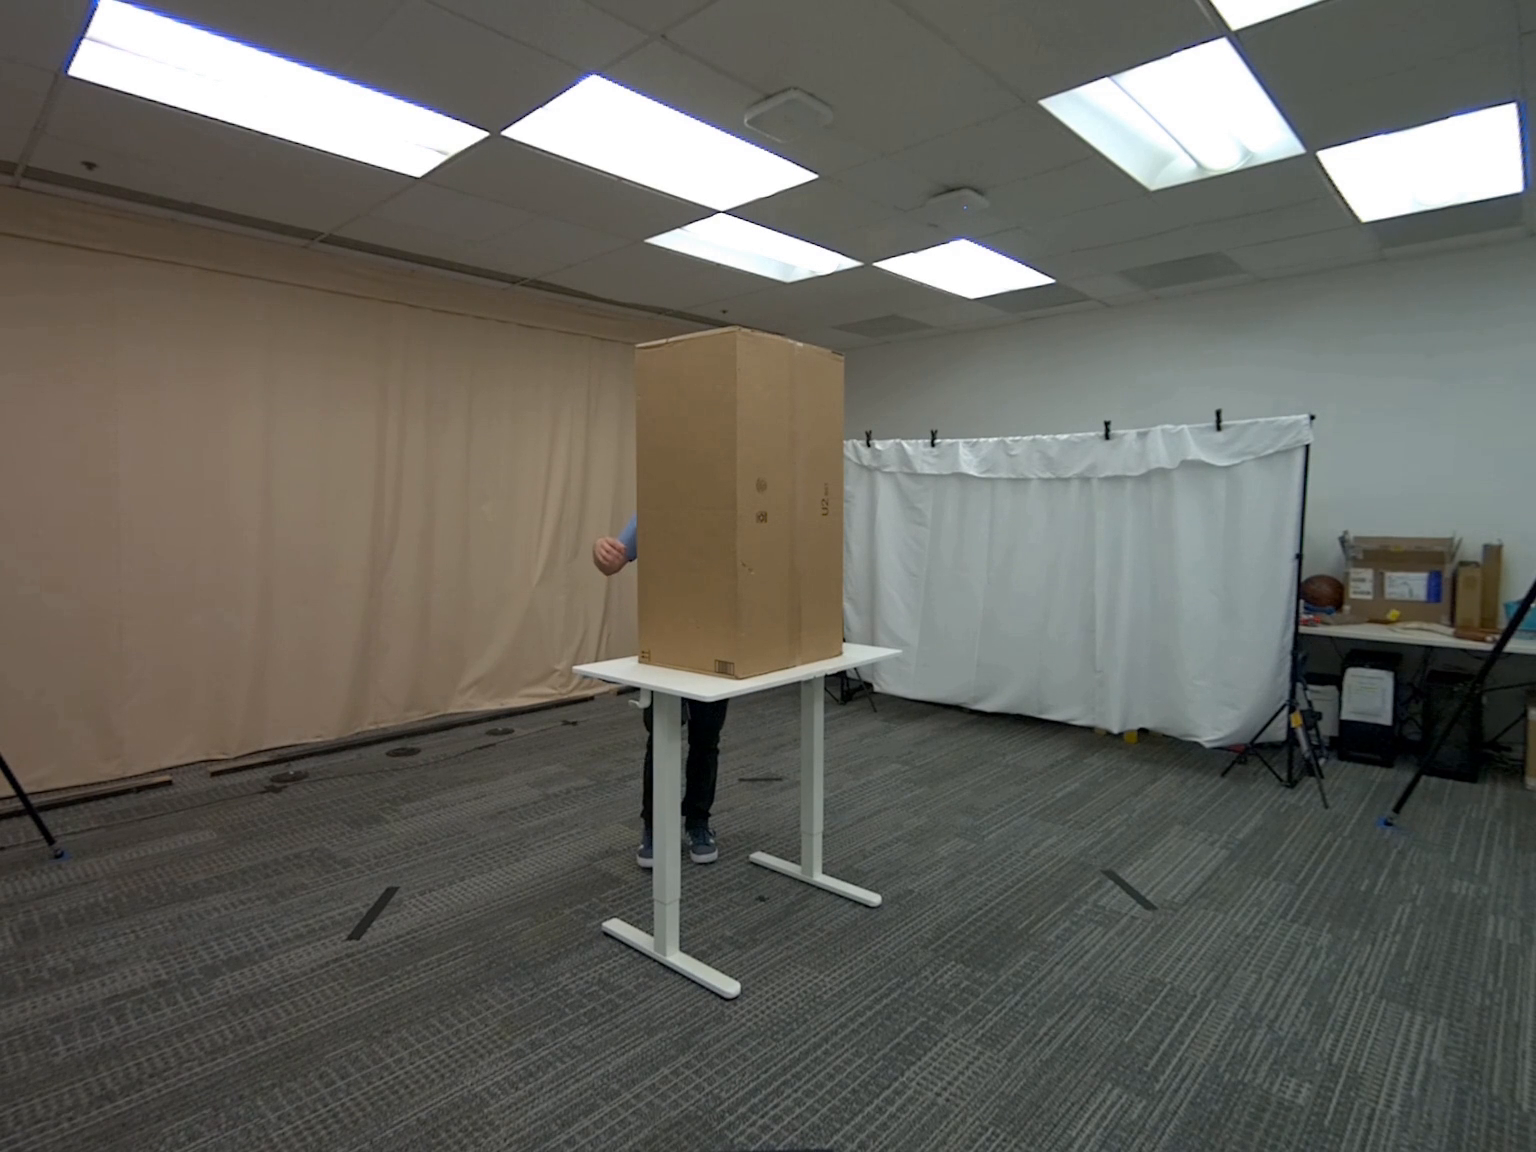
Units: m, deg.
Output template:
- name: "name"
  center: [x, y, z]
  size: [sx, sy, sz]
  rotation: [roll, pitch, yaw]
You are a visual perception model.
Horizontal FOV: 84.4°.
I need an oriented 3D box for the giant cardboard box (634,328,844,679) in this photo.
- name: "giant cardboard box"
  center: [-0.081, -0.230, 2.775]
  size: [0.440, 1.024, 0.560]
  rotation: [3, 4, 40]
